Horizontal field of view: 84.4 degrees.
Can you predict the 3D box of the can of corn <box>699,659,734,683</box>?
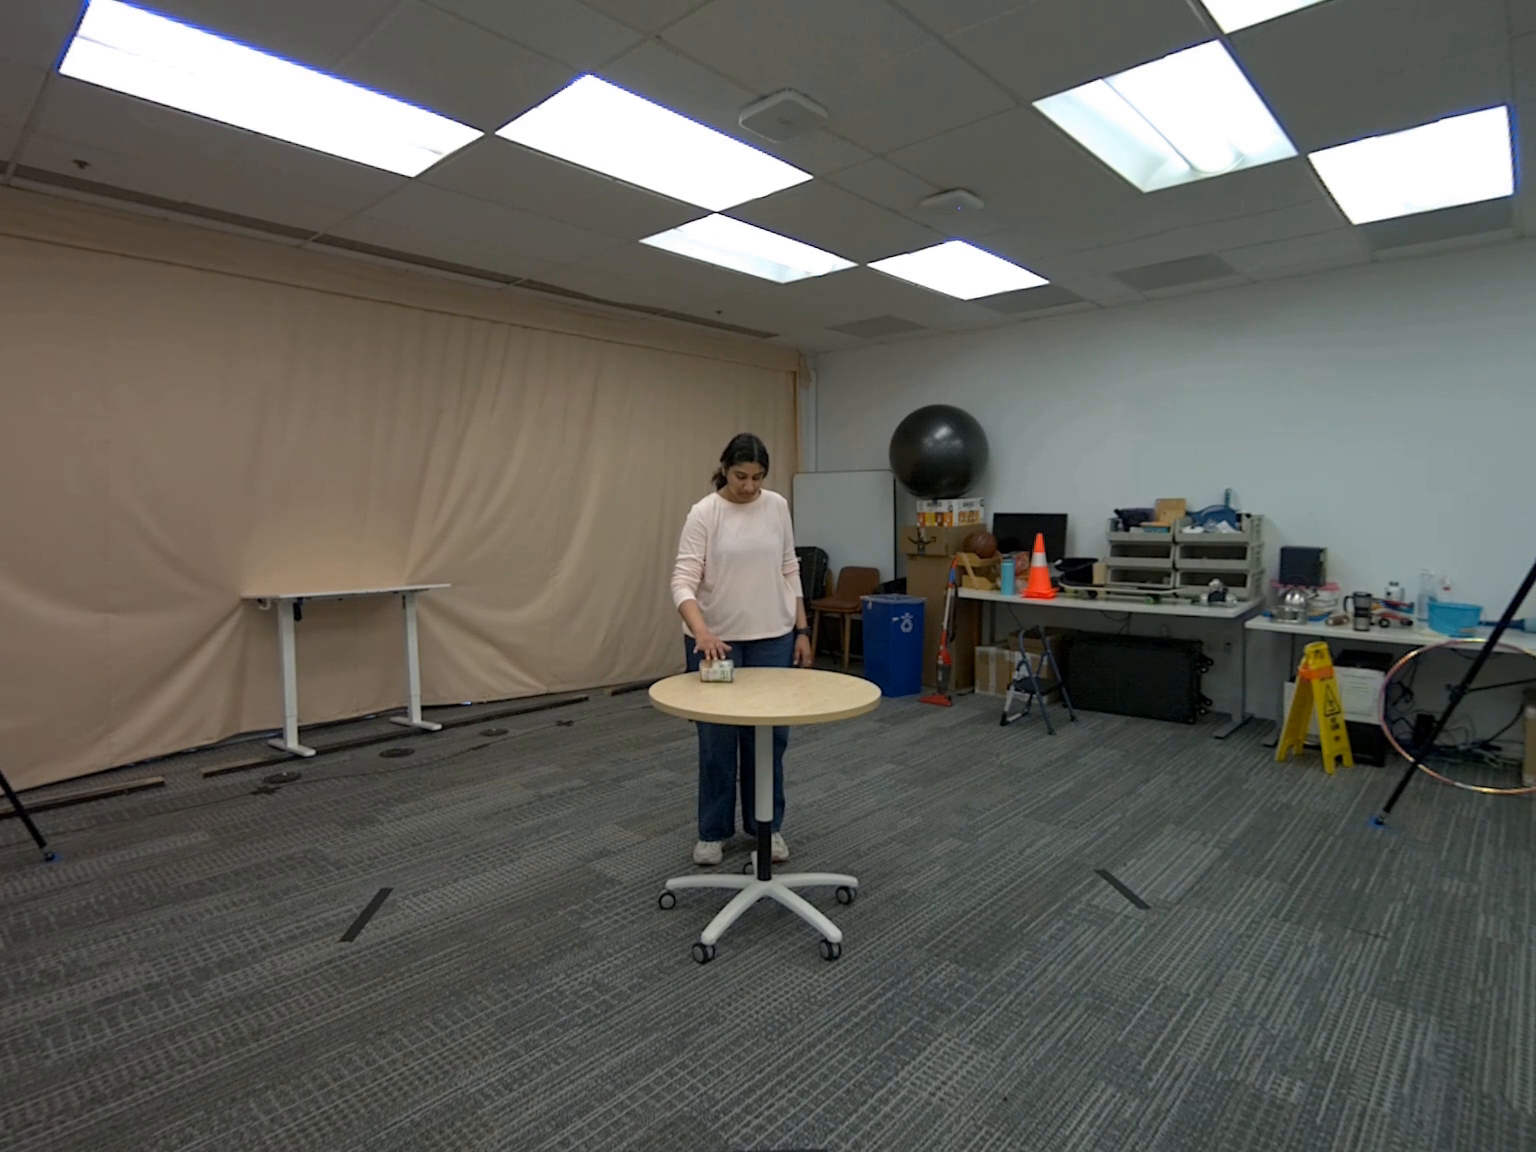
[{"bbox_3d":[-0.180,0.327,2.925,0.112,0.074,0.074,0,4,5],"label":"can of corn"}]
